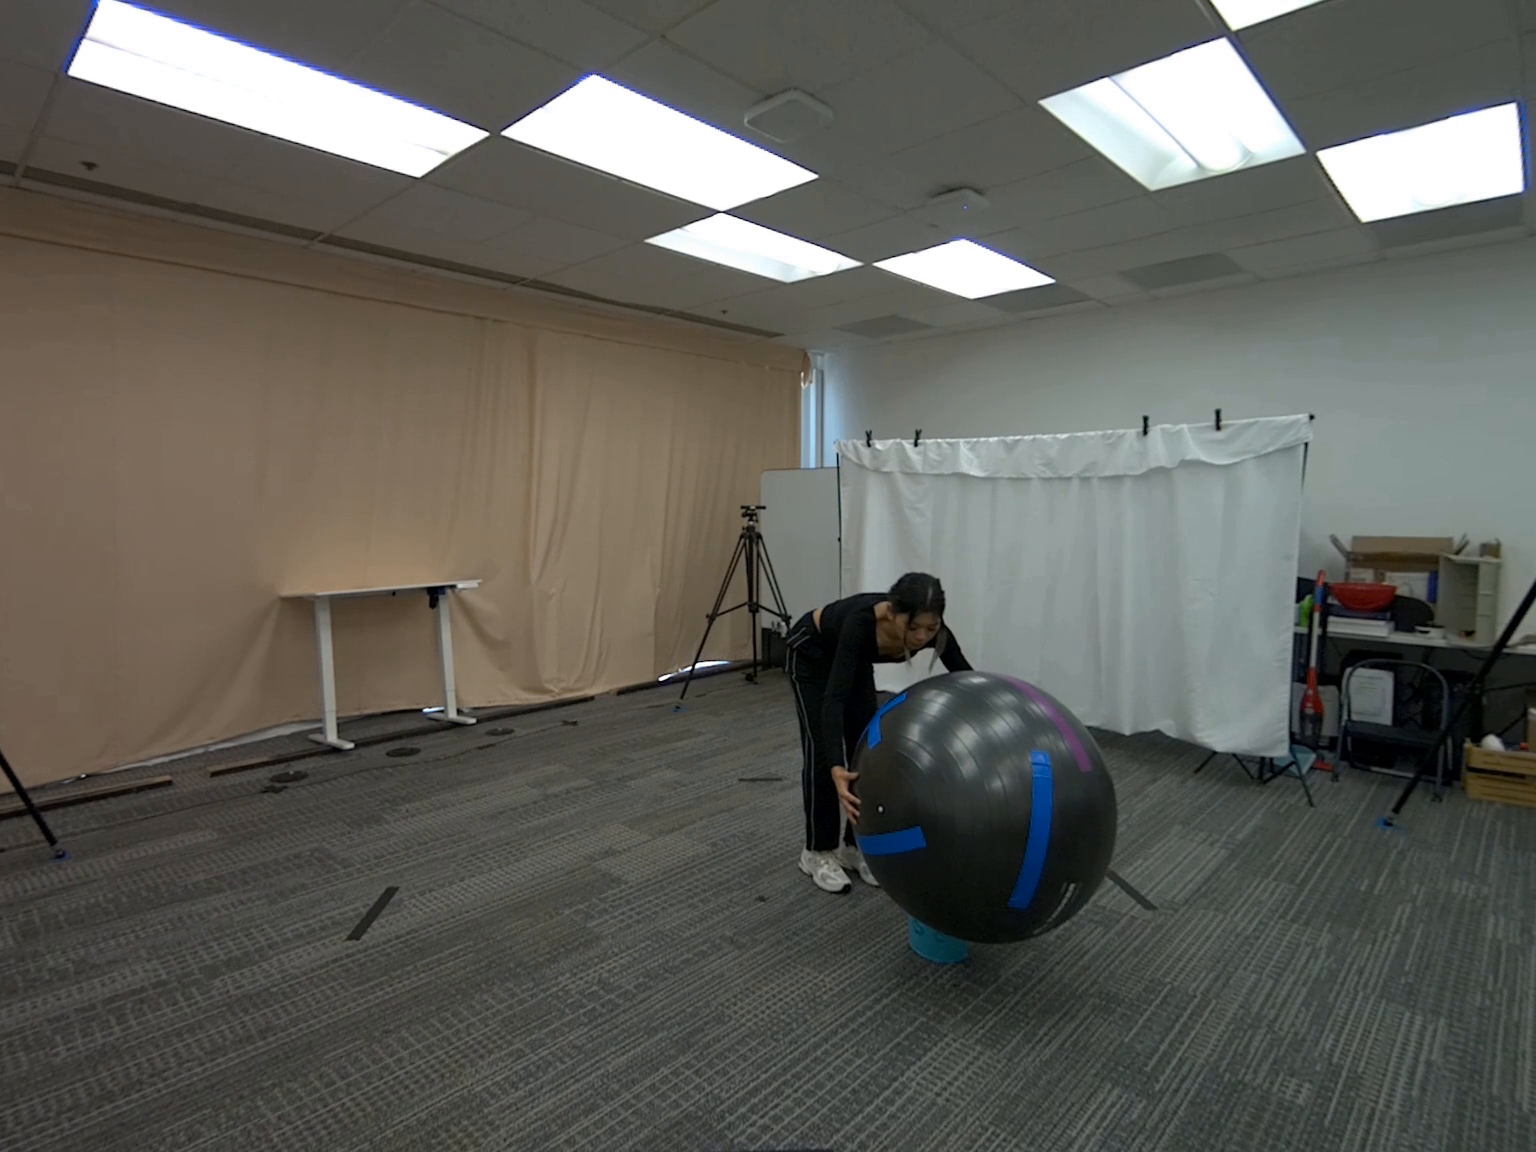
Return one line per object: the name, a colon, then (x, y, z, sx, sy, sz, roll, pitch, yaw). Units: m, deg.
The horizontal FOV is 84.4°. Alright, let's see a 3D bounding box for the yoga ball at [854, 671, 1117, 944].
yoga ball: (0.624, 0.669, 2.484, 0.757, 0.756, 0.760, 0, 4, -2)
